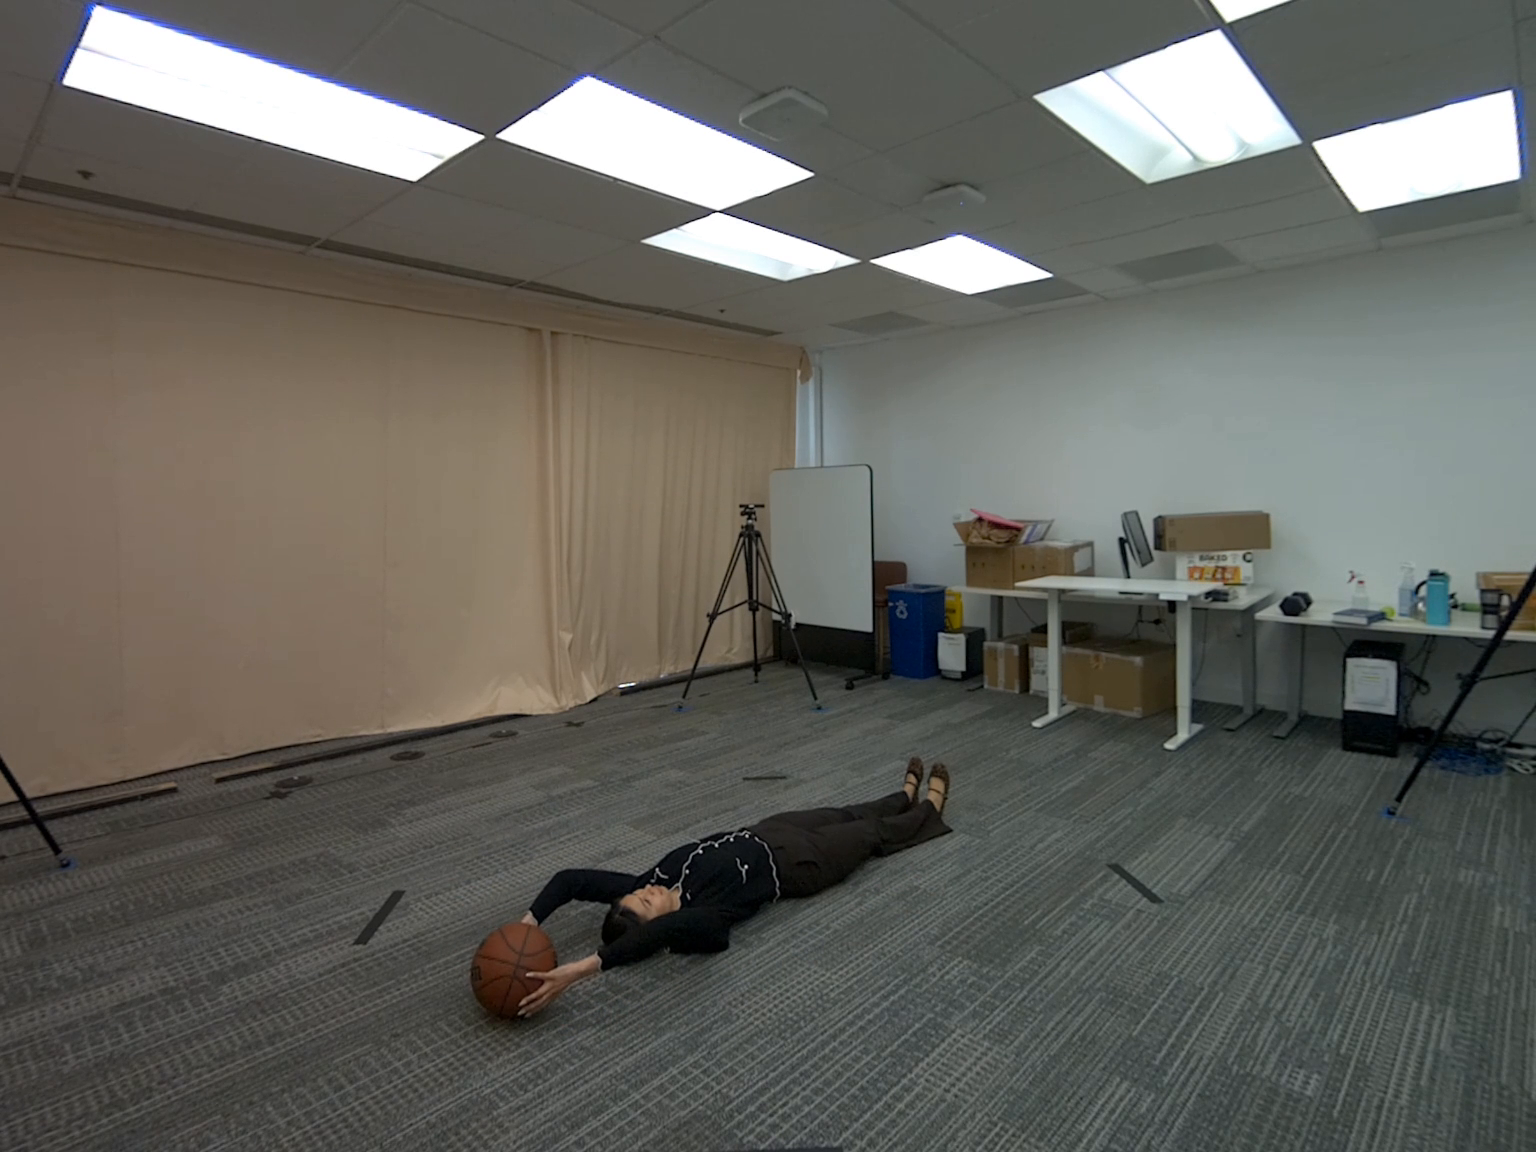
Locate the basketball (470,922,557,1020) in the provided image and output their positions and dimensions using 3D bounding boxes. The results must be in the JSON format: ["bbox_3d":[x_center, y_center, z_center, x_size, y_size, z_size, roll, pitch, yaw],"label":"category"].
[{"bbox_3d":[-0.705,1.086,2.330,0.236,0.235,0.237,-1,4,-2],"label":"basketball"}]
